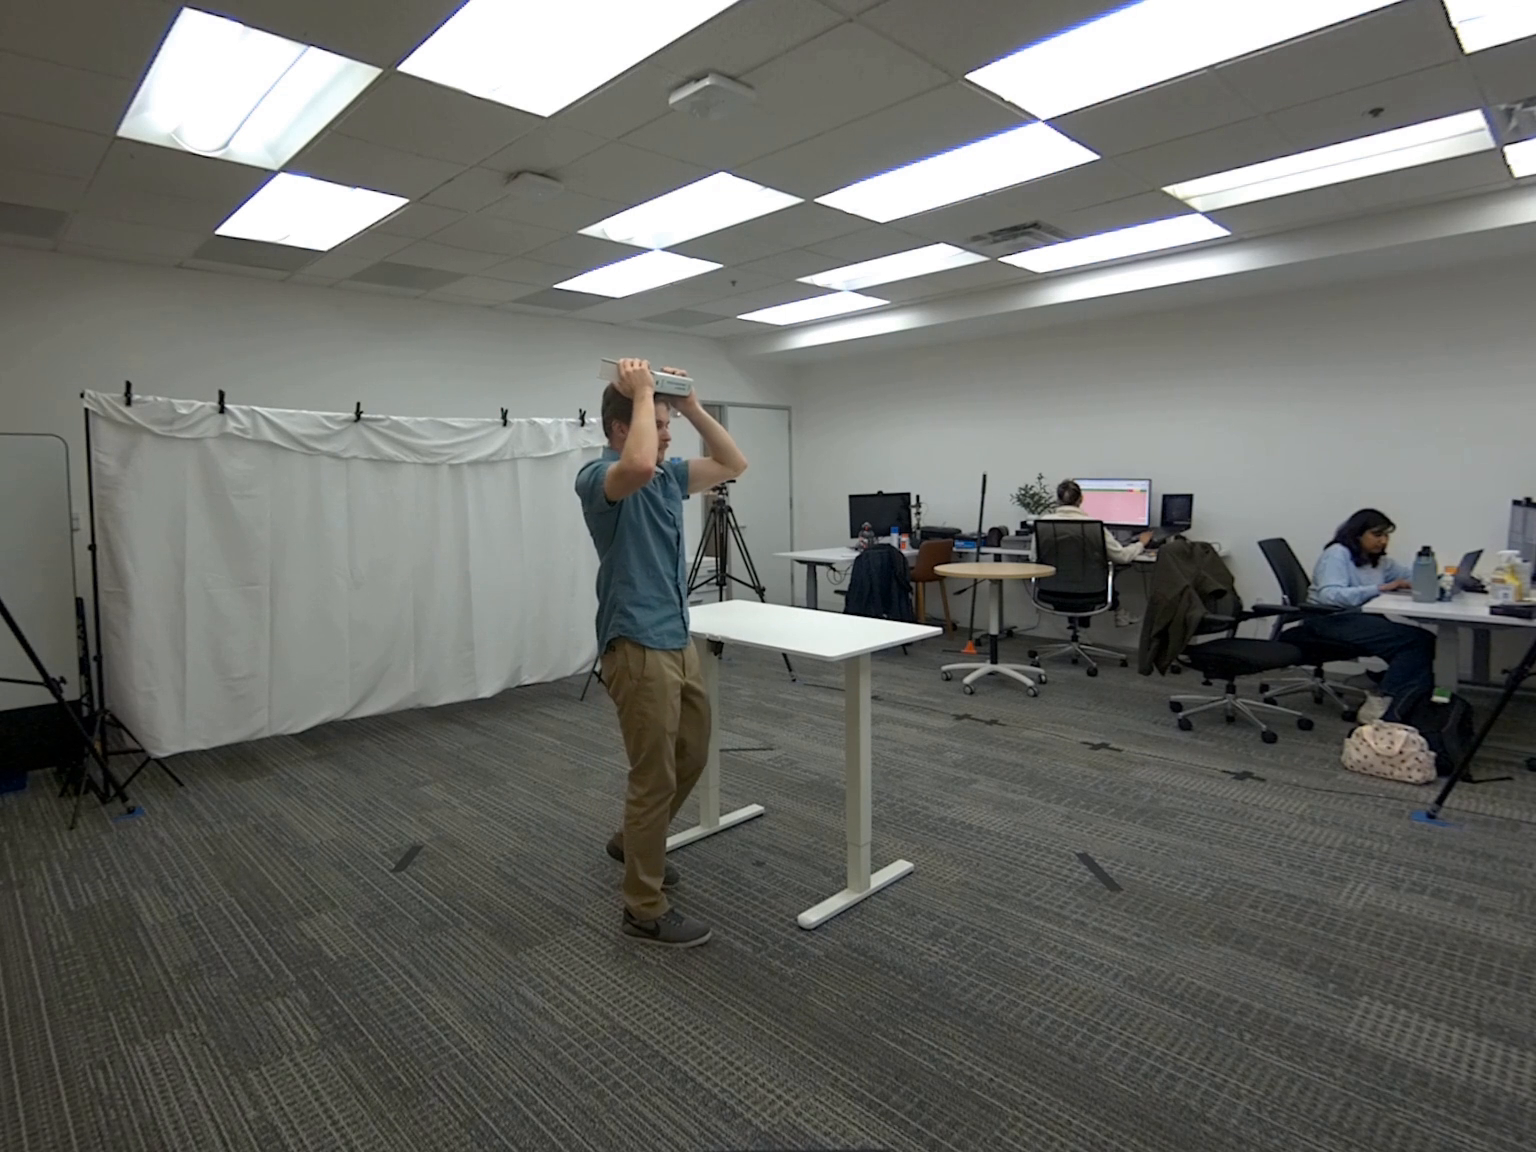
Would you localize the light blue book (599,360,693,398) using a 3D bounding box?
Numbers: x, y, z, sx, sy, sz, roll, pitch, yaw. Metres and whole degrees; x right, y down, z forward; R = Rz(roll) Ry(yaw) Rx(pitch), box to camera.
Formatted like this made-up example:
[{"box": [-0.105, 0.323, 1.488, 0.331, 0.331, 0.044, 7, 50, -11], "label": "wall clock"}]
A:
[{"box": [-0.368, -0.599, 2.592, 0.196, 0.058, 0.257, 19, 14, 19], "label": "light blue book"}]
